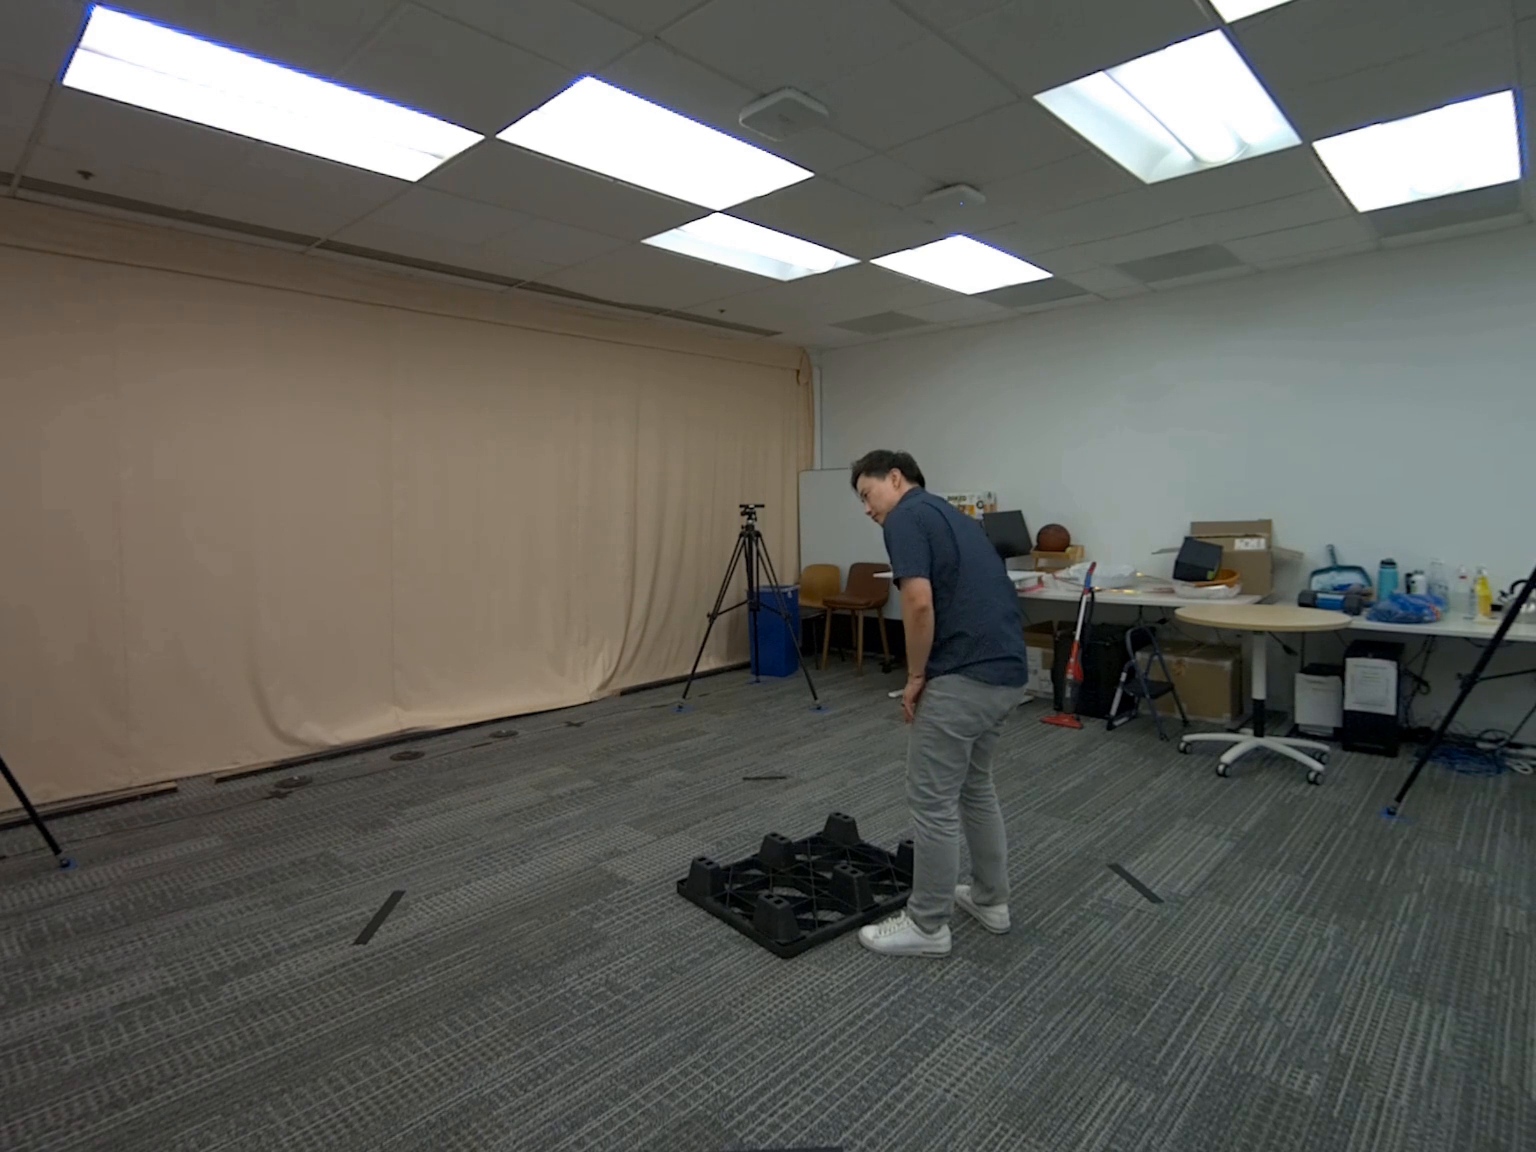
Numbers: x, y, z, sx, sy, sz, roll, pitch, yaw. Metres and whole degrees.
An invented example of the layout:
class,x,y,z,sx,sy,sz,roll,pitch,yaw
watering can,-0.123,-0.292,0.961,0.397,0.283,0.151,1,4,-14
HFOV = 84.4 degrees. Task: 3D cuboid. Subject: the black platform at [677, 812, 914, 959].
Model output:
class,x,y,z,sx,sy,sz,roll,pitch,yaw
black platform,0.162,1.066,3.031,0.782,0.143,0.625,-5,6,-39
